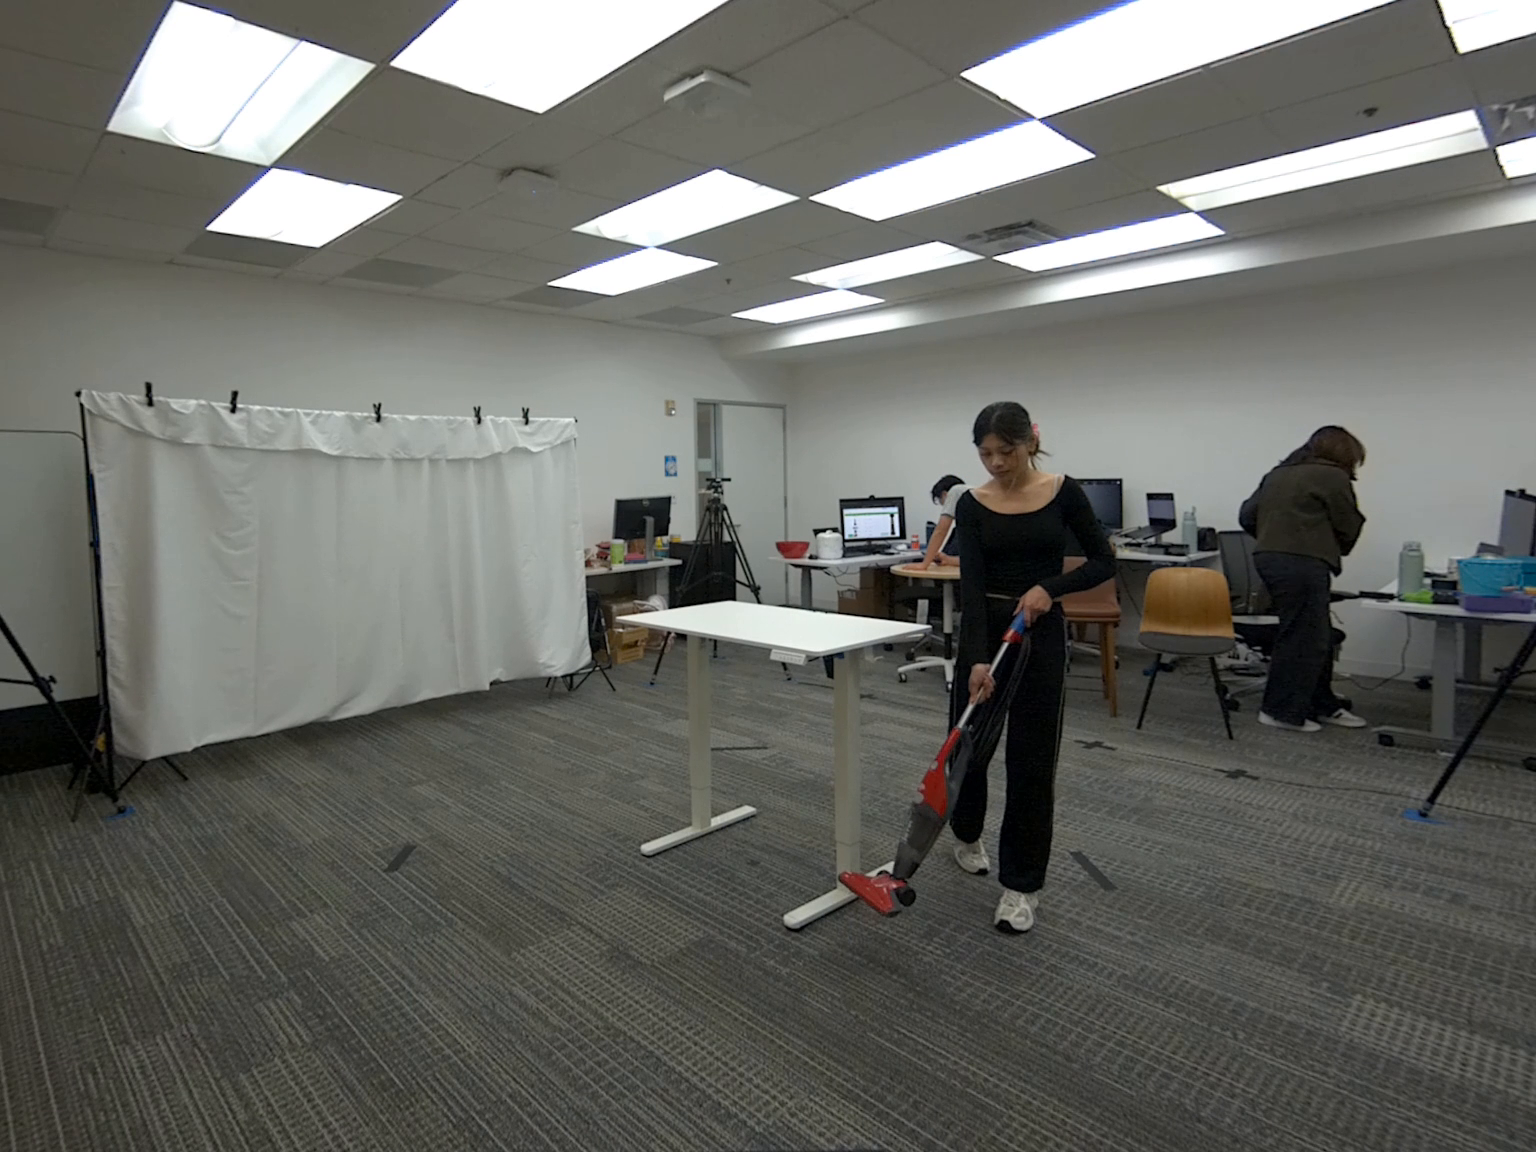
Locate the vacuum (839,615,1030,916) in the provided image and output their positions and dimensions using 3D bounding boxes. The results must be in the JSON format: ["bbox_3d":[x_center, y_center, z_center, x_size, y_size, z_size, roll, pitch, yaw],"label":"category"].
[{"bbox_3d":[0.583,0.497,2.516,0.139,1.052,0.261,39,-14,-33],"label":"vacuum"}]
